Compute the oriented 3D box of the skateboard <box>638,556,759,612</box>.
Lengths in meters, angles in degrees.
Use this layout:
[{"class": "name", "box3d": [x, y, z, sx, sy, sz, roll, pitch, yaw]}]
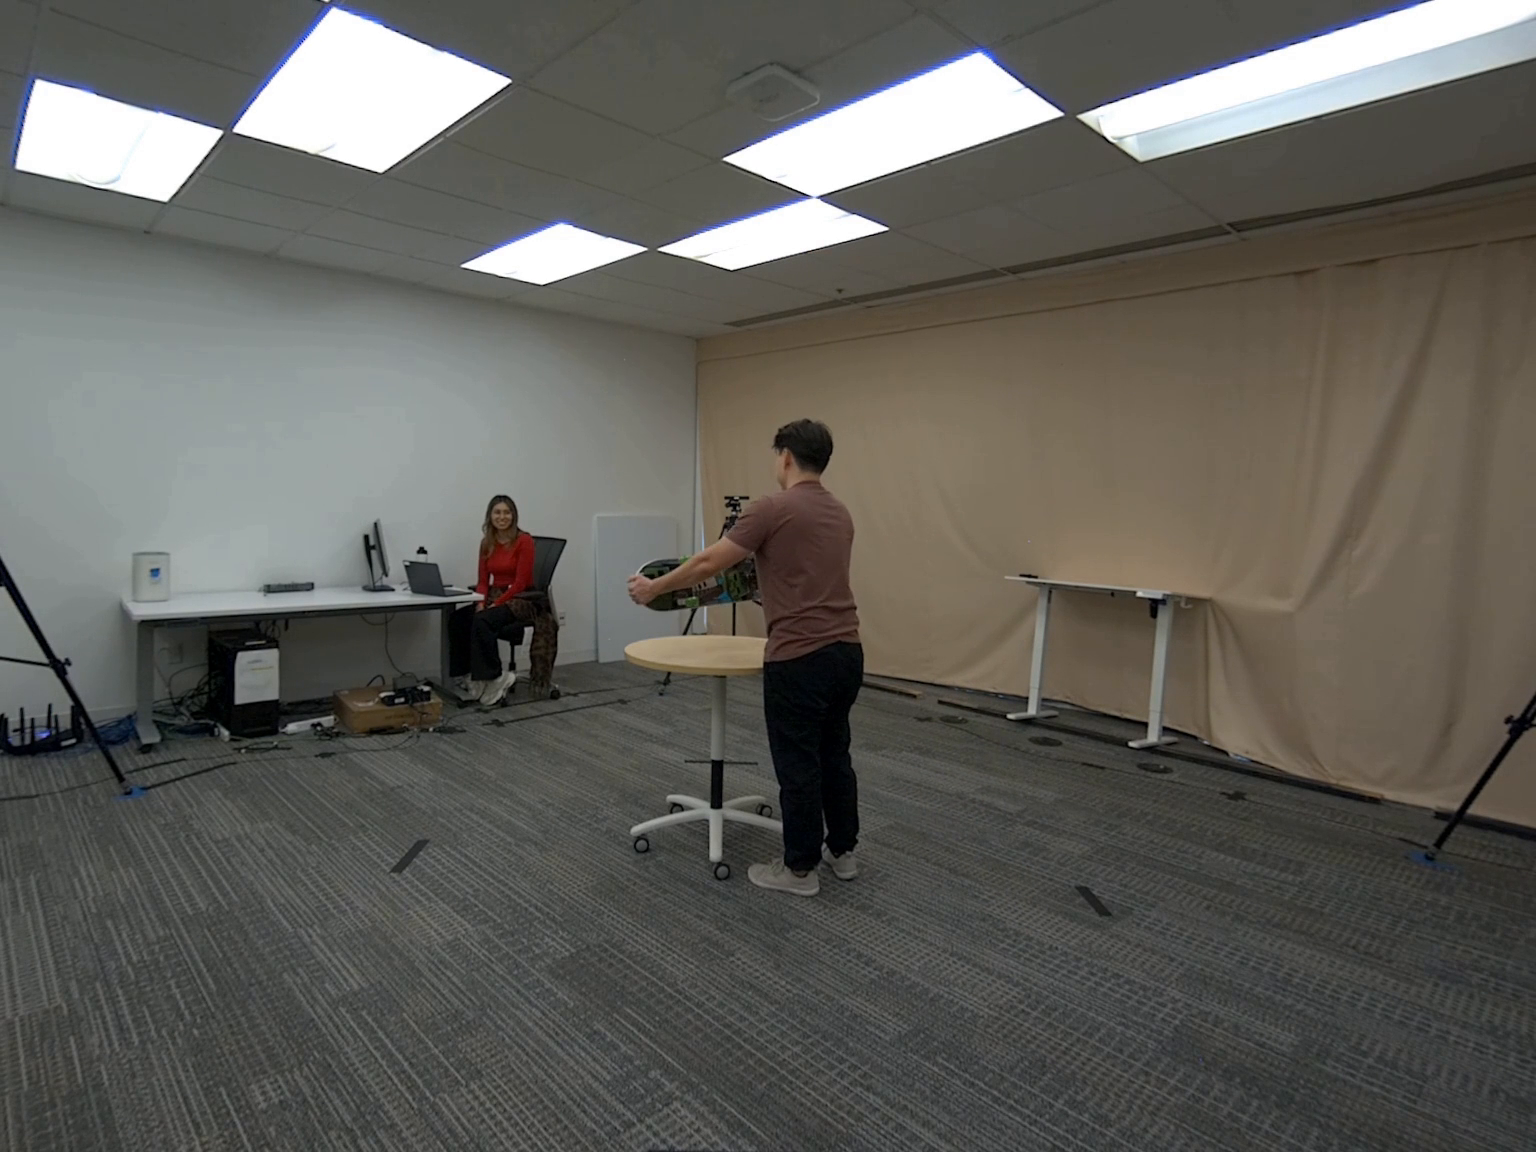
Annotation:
[{"class": "skateboard", "box3d": [-0.191, 0.013, 3.277, 0.112, 0.194, 0.768, -7, -1, 40]}]
